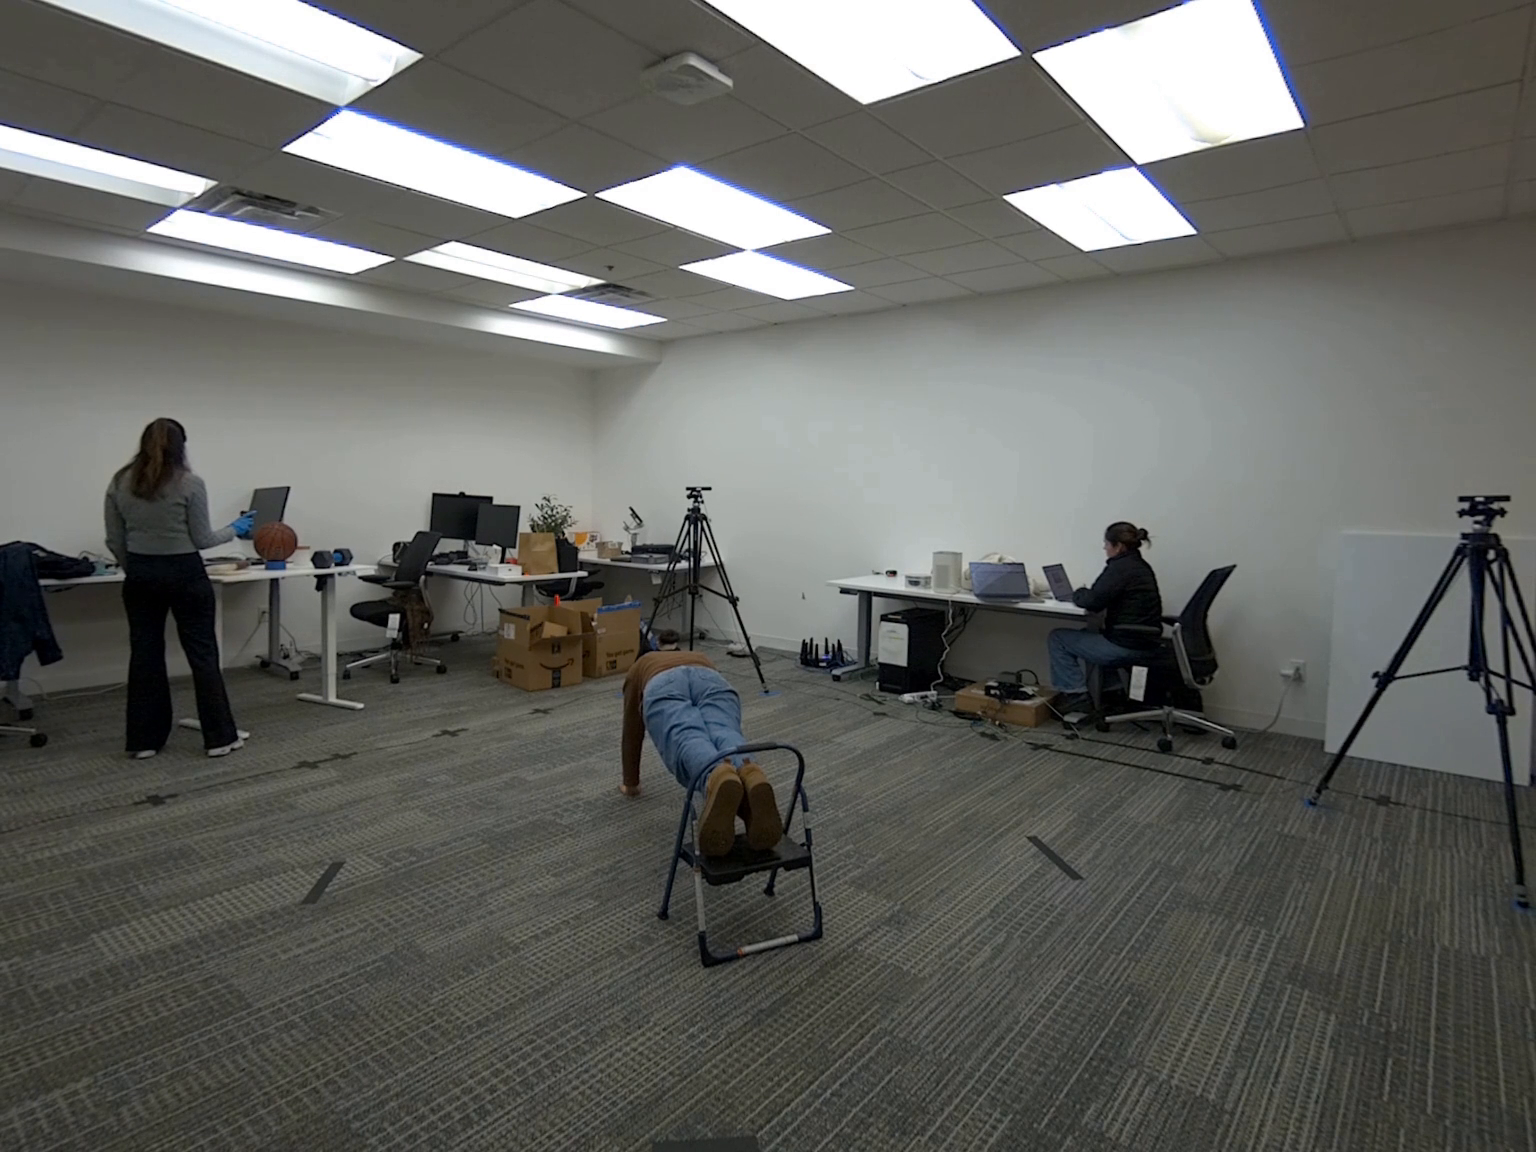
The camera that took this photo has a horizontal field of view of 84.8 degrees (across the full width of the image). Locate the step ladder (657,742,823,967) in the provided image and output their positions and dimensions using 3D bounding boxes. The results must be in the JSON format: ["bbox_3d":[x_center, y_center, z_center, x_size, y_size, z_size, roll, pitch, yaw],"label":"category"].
[{"bbox_3d":[-0.092,0.808,2.685,0.419,0.604,0.360,-1,4,-29],"label":"step ladder"}]
